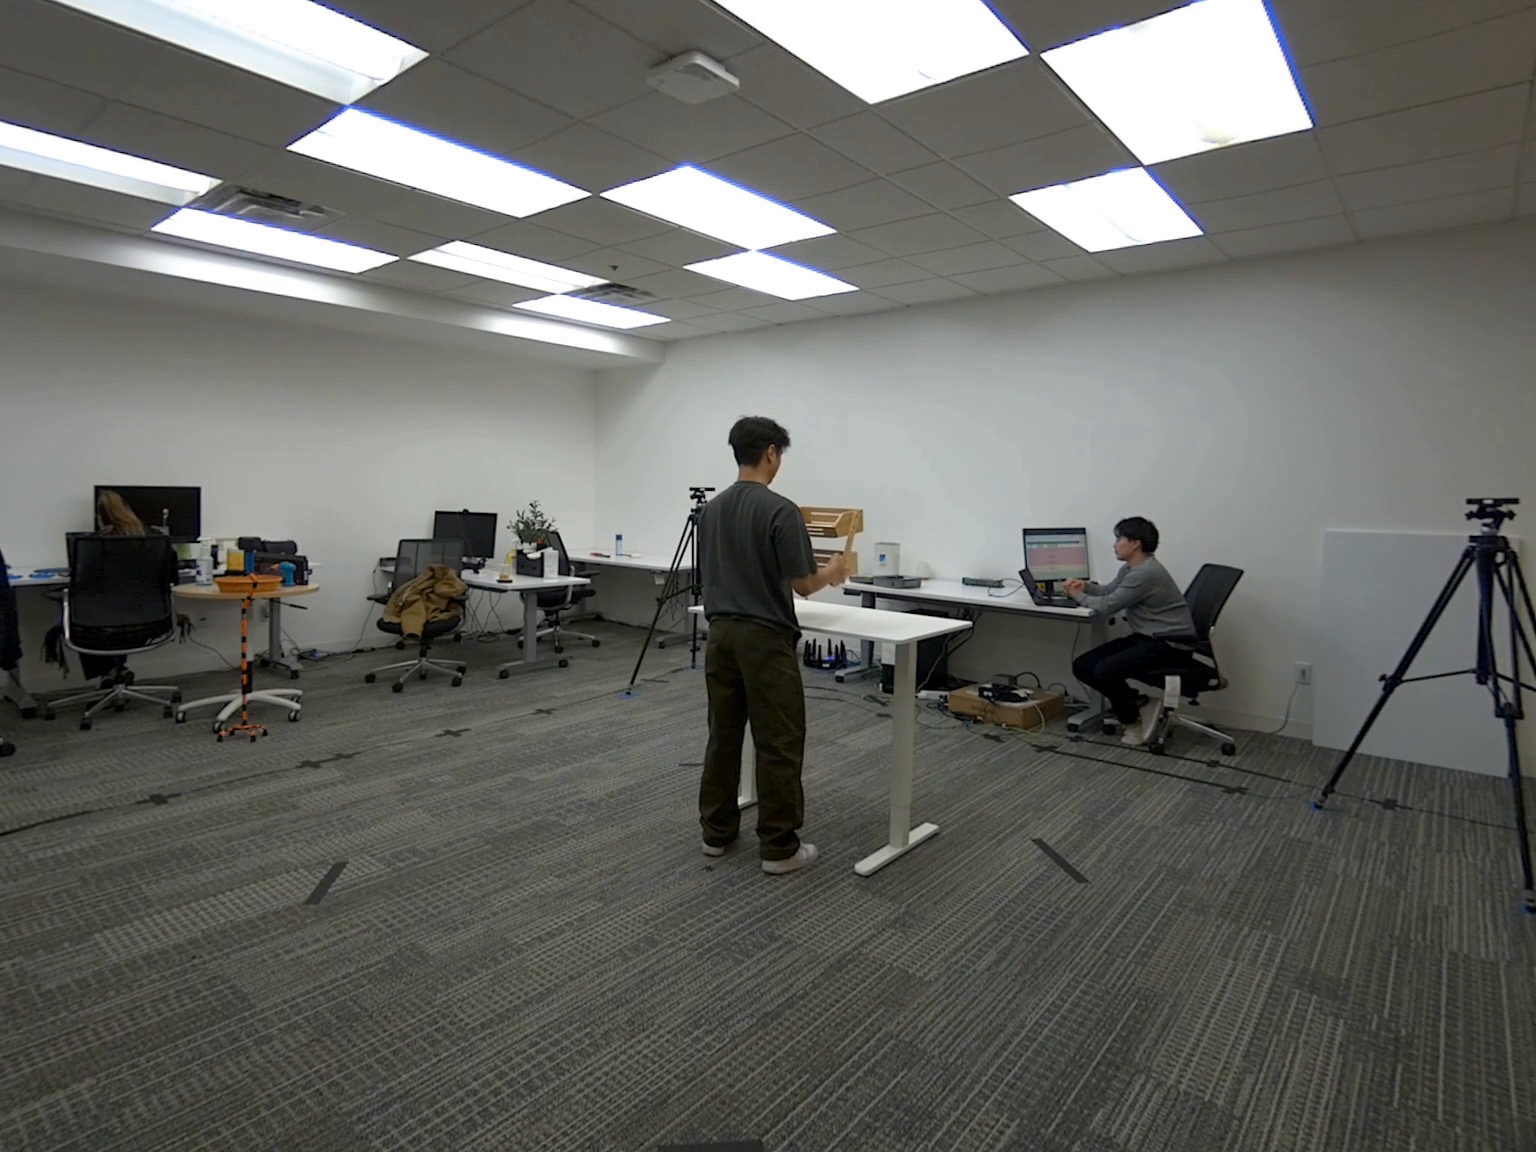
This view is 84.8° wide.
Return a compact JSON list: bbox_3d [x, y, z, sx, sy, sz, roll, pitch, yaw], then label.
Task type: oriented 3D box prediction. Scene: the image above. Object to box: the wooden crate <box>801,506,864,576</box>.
[{"bbox_3d":[0.170,-0.136,3.443,0.335,0.271,0.295,6,13,38],"label":"wooden crate"}]
